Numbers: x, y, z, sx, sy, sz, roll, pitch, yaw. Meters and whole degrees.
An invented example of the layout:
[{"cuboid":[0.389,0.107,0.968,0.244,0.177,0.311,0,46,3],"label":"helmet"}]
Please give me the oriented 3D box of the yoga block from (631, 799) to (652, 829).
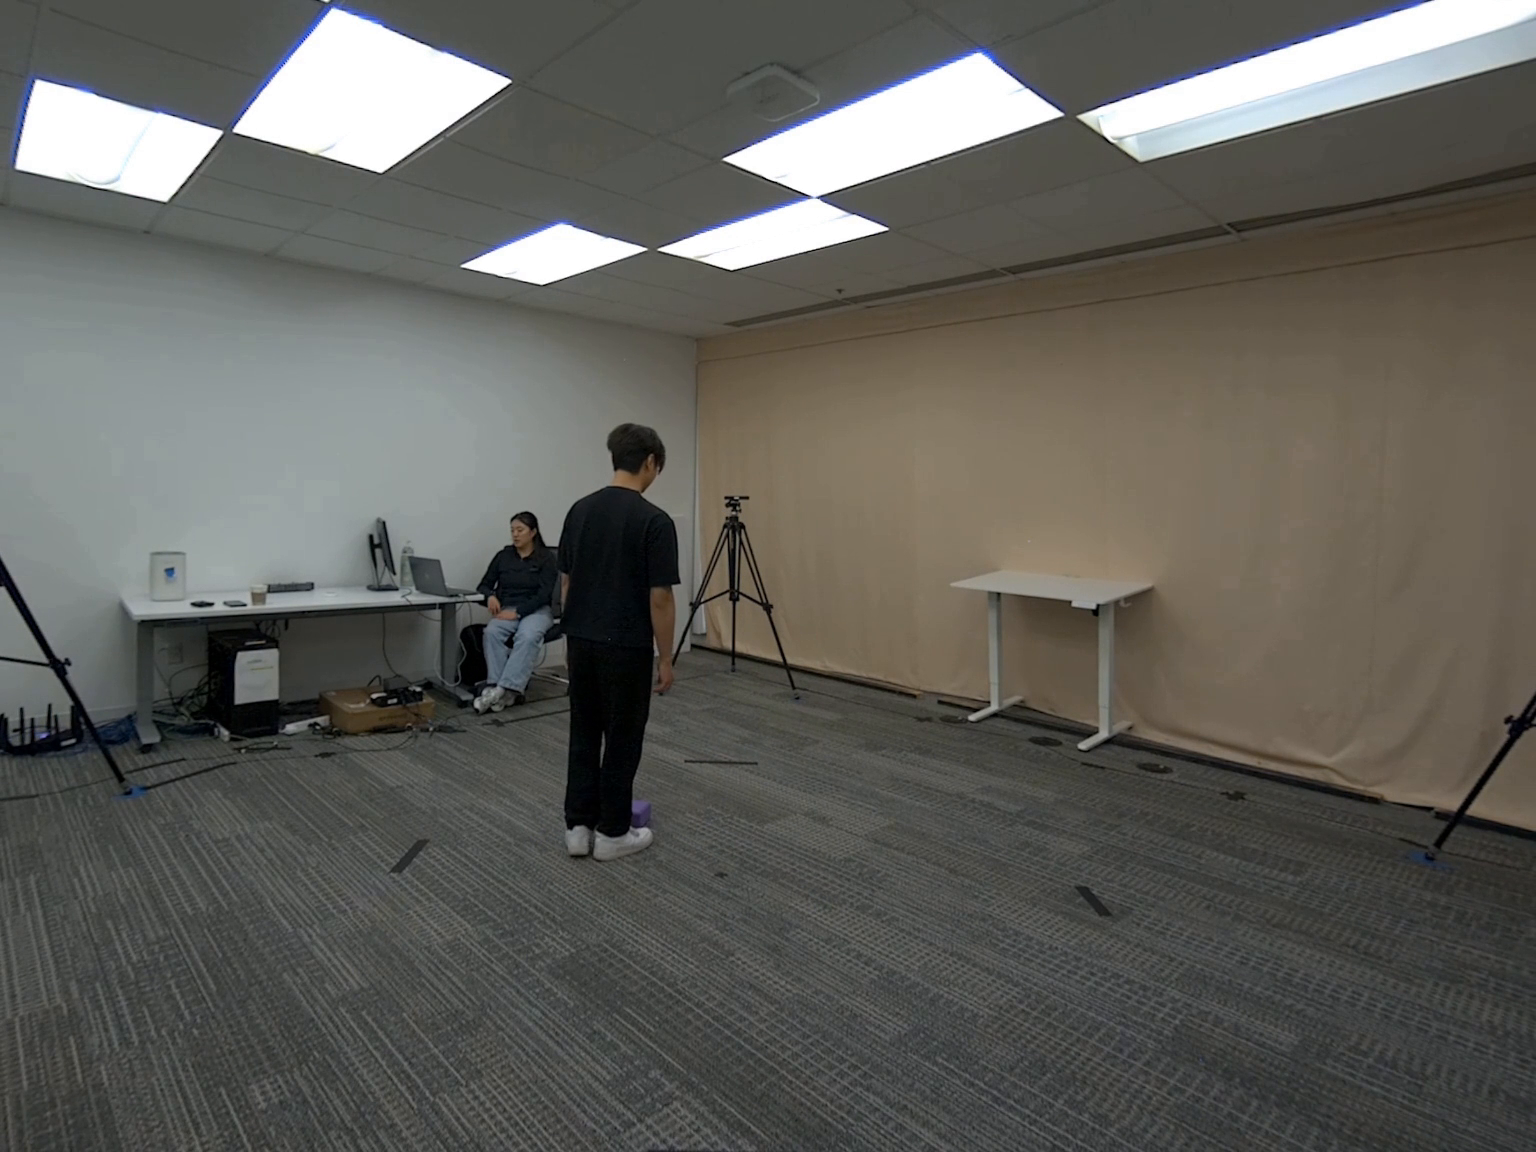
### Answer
[{"cuboid":[-0.638,1.012,3.592,0.232,0.076,0.148,5,5,13],"label":"yoga block"}]
